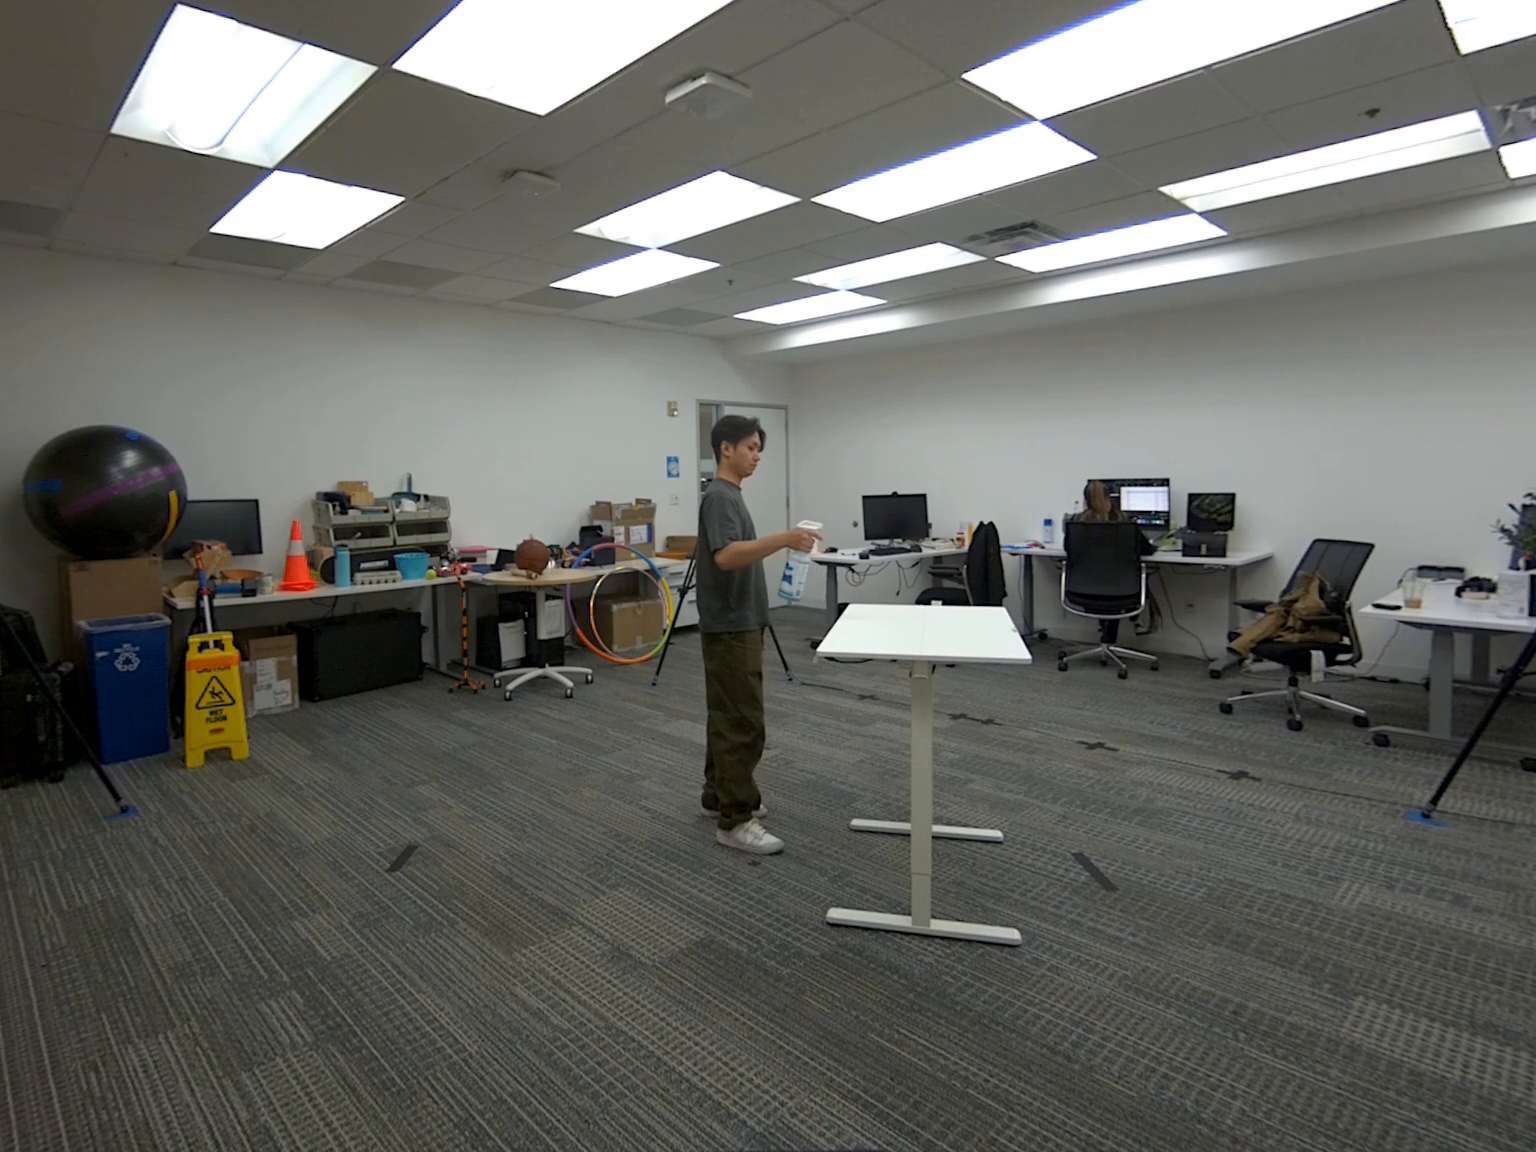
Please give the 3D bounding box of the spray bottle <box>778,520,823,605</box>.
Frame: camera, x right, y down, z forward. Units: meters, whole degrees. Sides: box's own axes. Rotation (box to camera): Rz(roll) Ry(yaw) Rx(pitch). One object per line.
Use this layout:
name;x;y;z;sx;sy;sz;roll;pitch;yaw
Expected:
spray bottle;0.114;-0.055;3.112;0.092;0.296;0.085;17;5;21
